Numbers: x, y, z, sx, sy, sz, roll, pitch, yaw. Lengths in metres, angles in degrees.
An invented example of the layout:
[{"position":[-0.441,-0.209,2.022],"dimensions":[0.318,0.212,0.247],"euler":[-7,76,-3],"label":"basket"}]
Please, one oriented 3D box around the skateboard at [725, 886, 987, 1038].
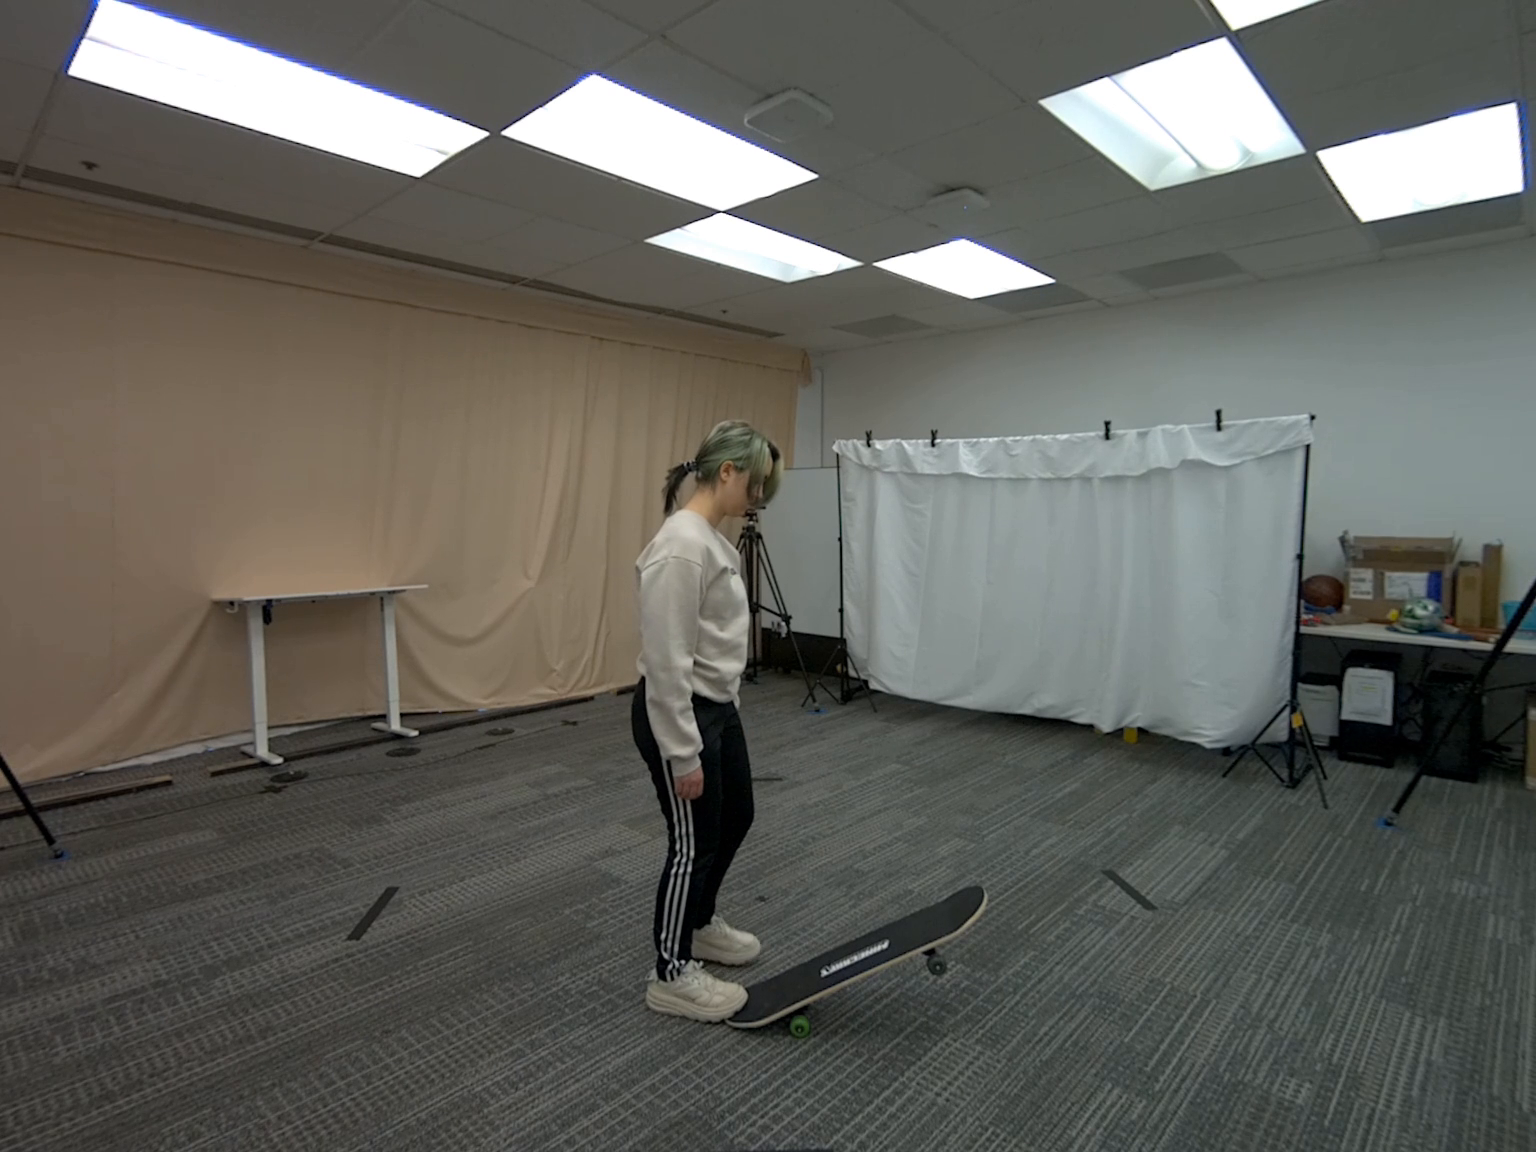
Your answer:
[{"position":[0.259,1.068,2.254],"dimensions":[0.790,0.110,0.192],"euler":[-27,2,8],"label":"skateboard"}]
